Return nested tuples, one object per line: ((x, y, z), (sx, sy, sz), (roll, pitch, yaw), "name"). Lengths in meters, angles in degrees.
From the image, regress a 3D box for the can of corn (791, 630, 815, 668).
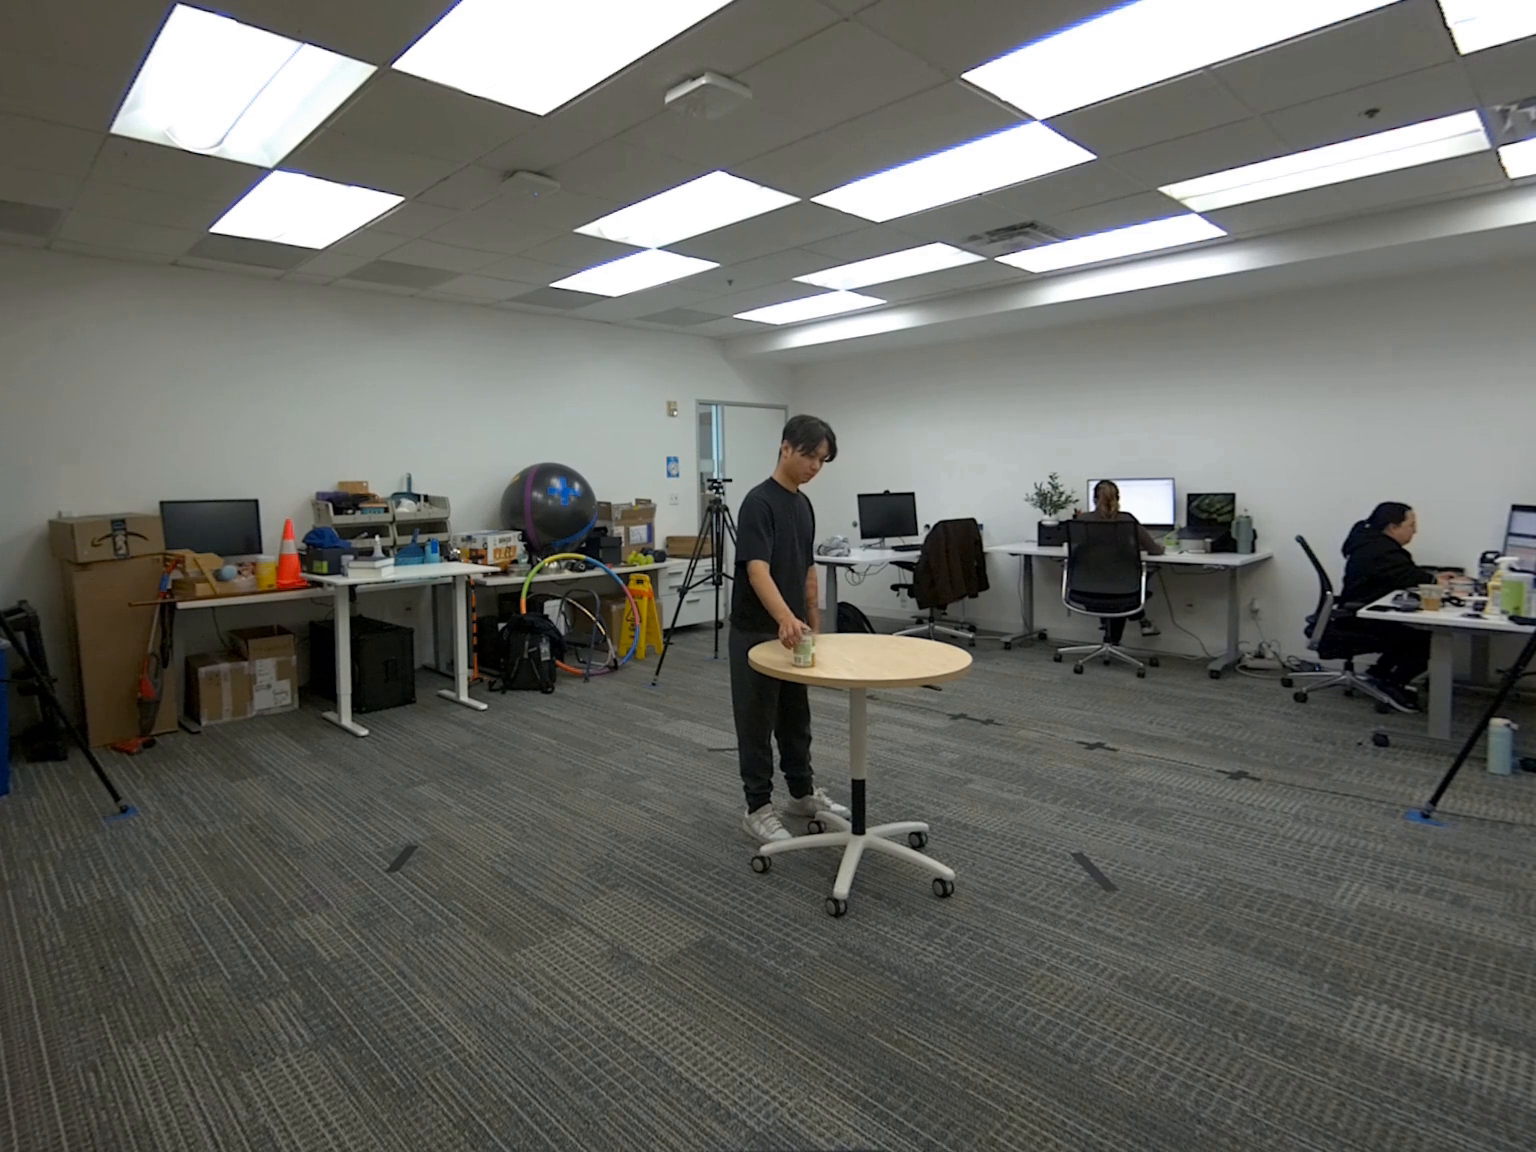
((0.116, 0.240, 2.790), (0.074, 0.110, 0.074), (-4, 4, -1), "can of corn")
